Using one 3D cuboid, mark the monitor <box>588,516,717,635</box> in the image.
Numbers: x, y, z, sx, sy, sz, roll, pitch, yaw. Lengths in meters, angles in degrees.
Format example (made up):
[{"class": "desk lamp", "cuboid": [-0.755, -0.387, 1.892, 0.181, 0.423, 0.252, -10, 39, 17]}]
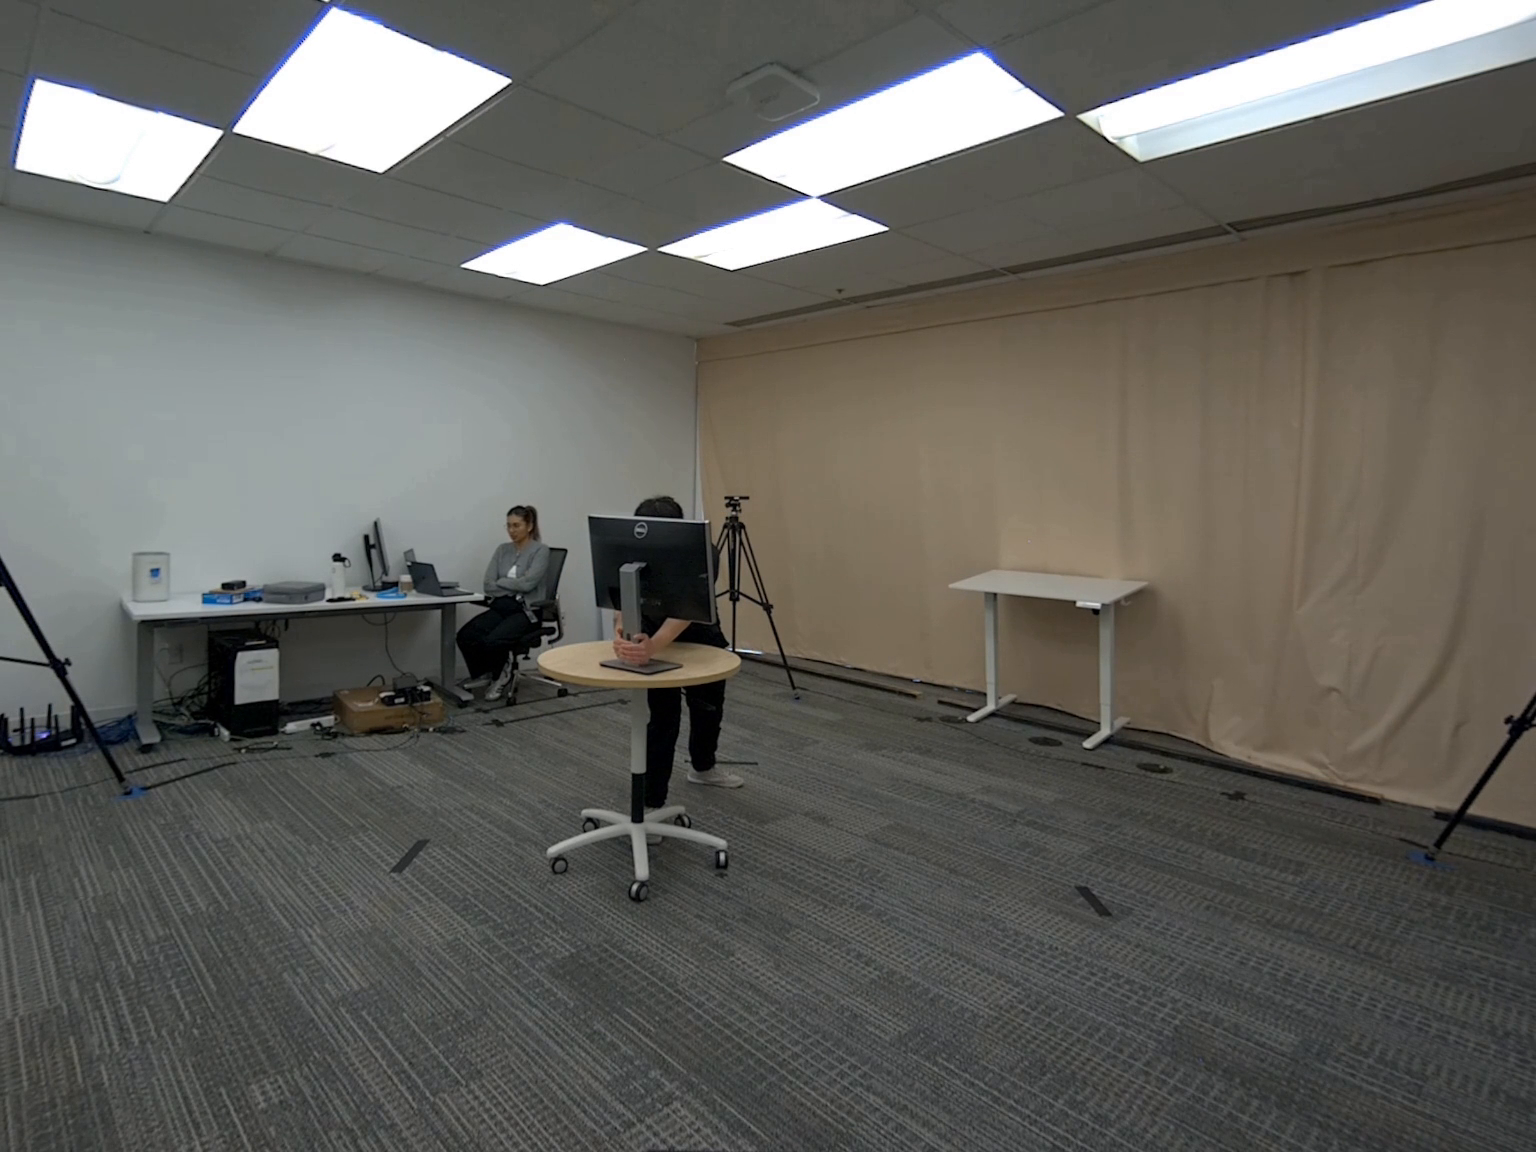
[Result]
[{"class": "monitor", "cuboid": [-0.461, 0.062, 3.029, 0.551, 0.522, 0.183, 4, 3, 32]}]
